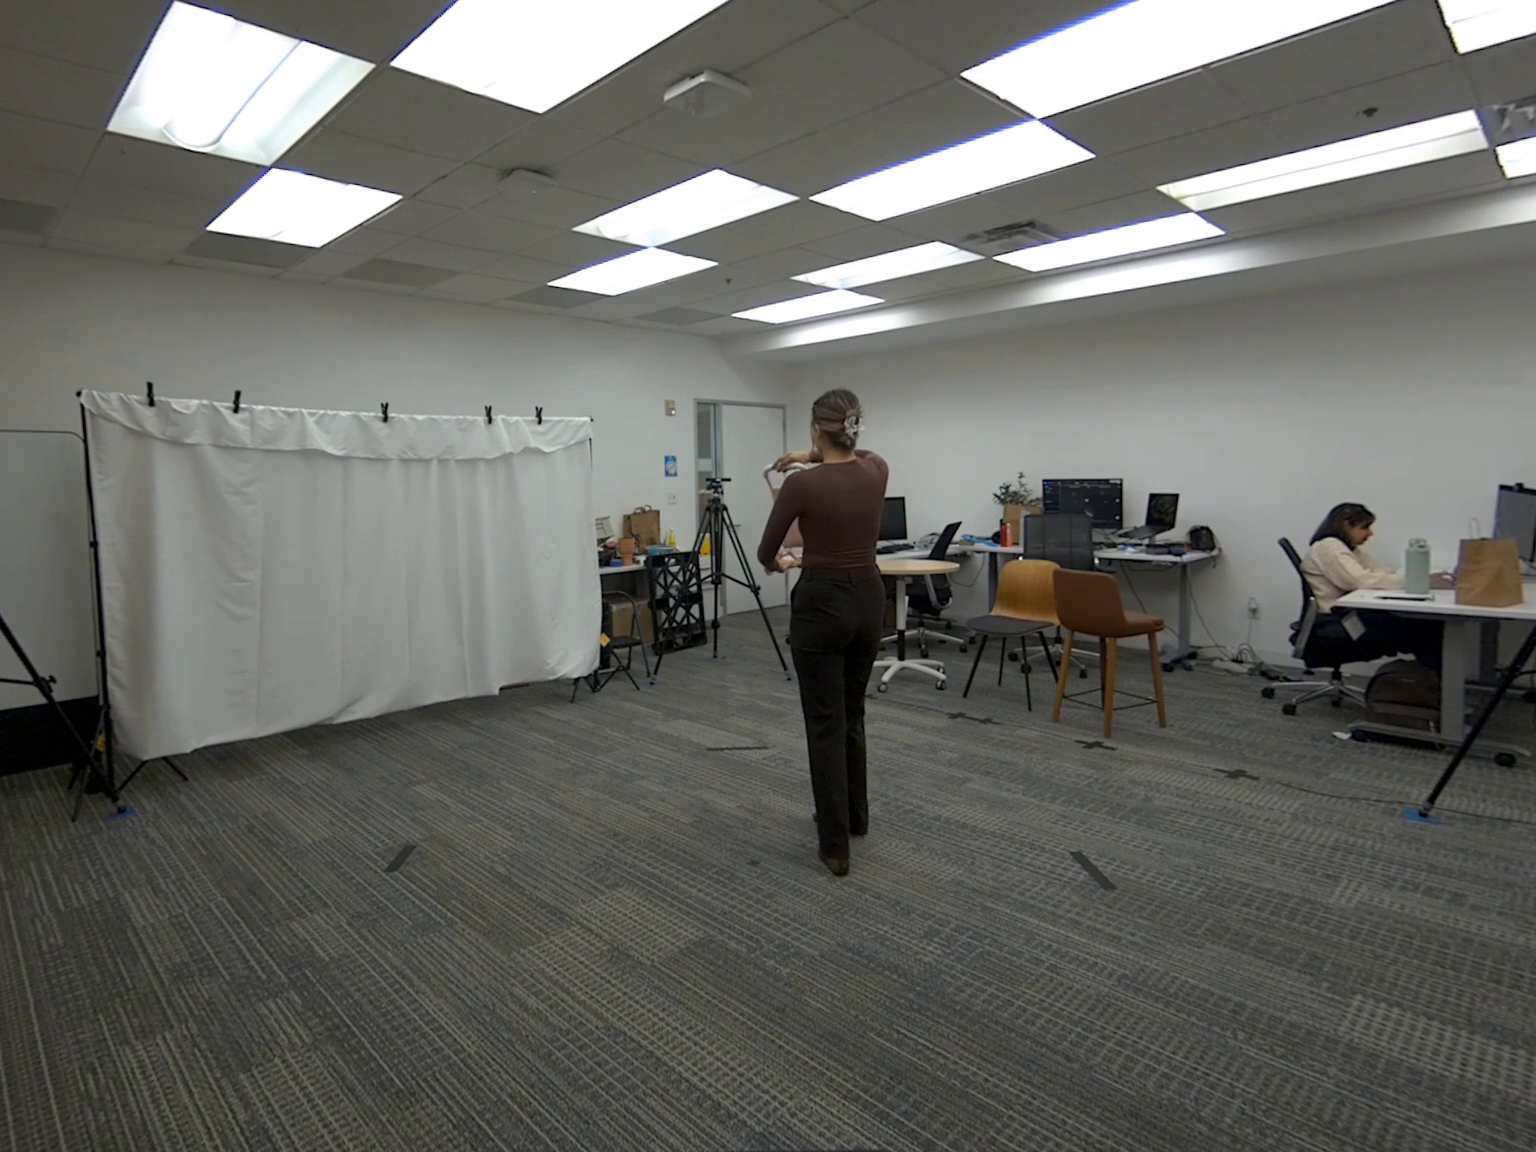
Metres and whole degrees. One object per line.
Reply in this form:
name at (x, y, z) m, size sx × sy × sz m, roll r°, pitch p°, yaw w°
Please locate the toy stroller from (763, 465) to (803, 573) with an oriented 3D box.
toy stroller at (0.154, -0.225, 3.664) m, size 0.288 × 0.533 × 0.335 m, roll -4°, pitch 4°, yaw 28°
